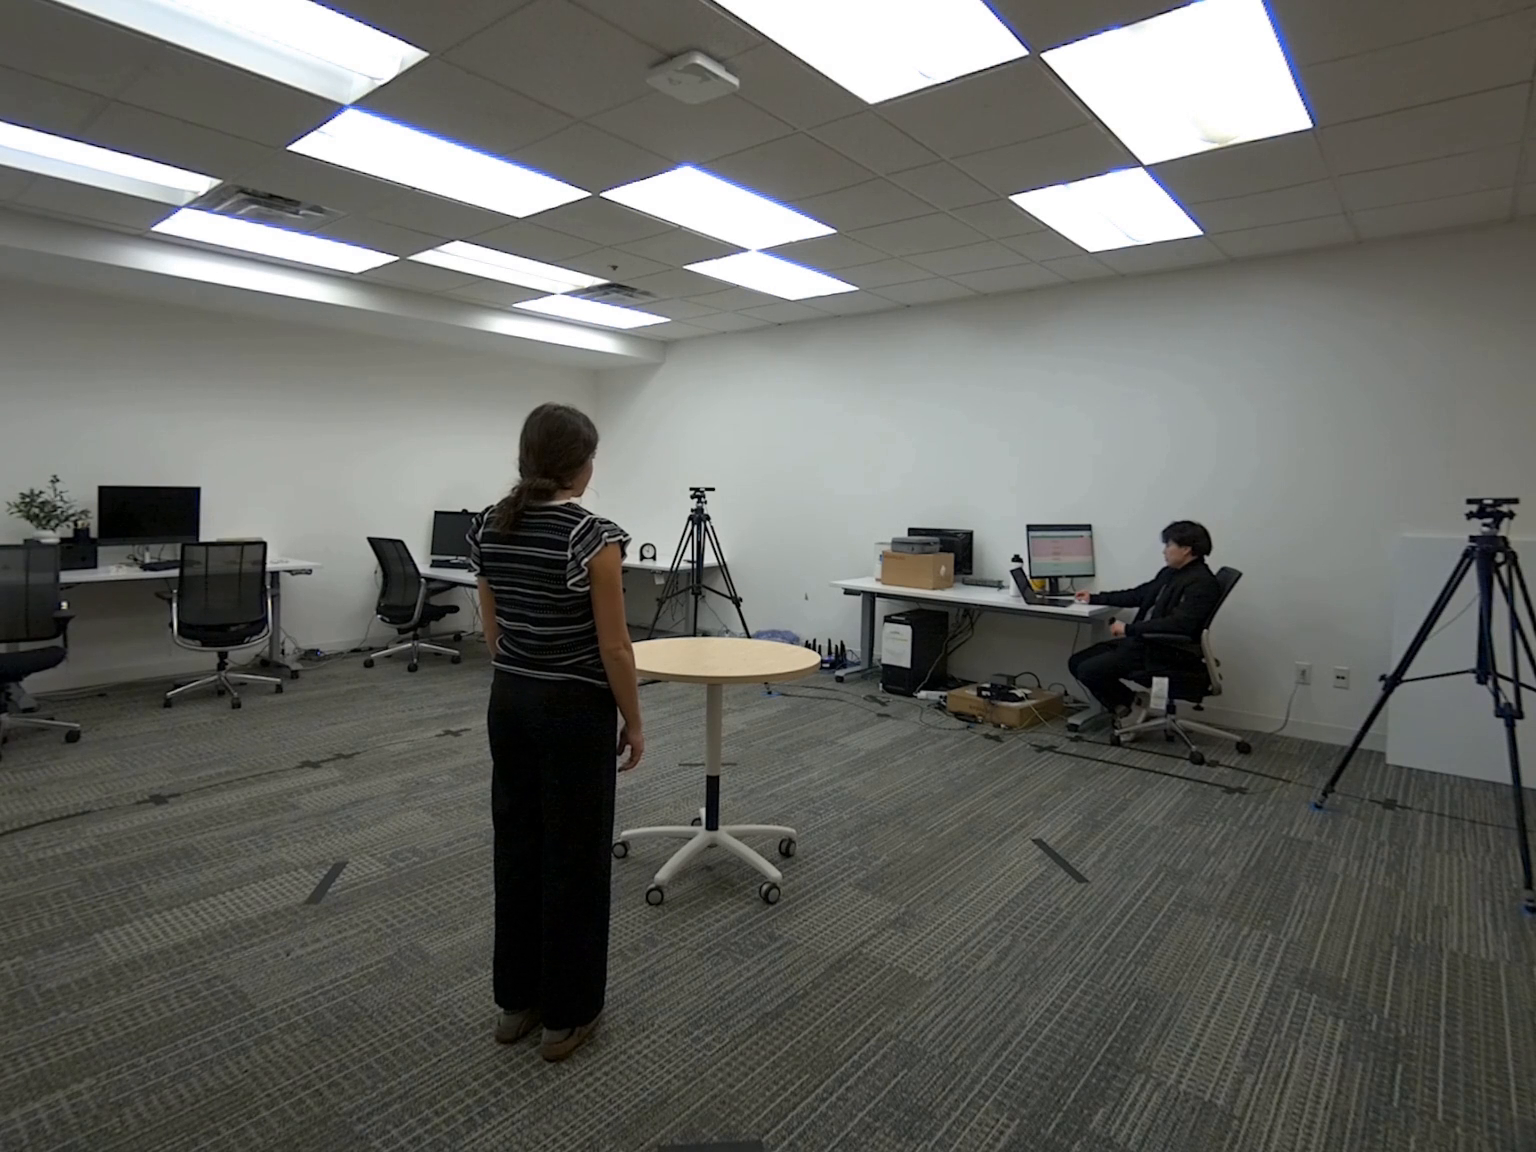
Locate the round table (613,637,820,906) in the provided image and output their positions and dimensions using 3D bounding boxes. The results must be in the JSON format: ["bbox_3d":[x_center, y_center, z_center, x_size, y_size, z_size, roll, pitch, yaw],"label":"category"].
[{"bbox_3d":[-0.210,0.676,3.107,0.763,0.792,0.767,1,4,-2],"label":"round table"}]
